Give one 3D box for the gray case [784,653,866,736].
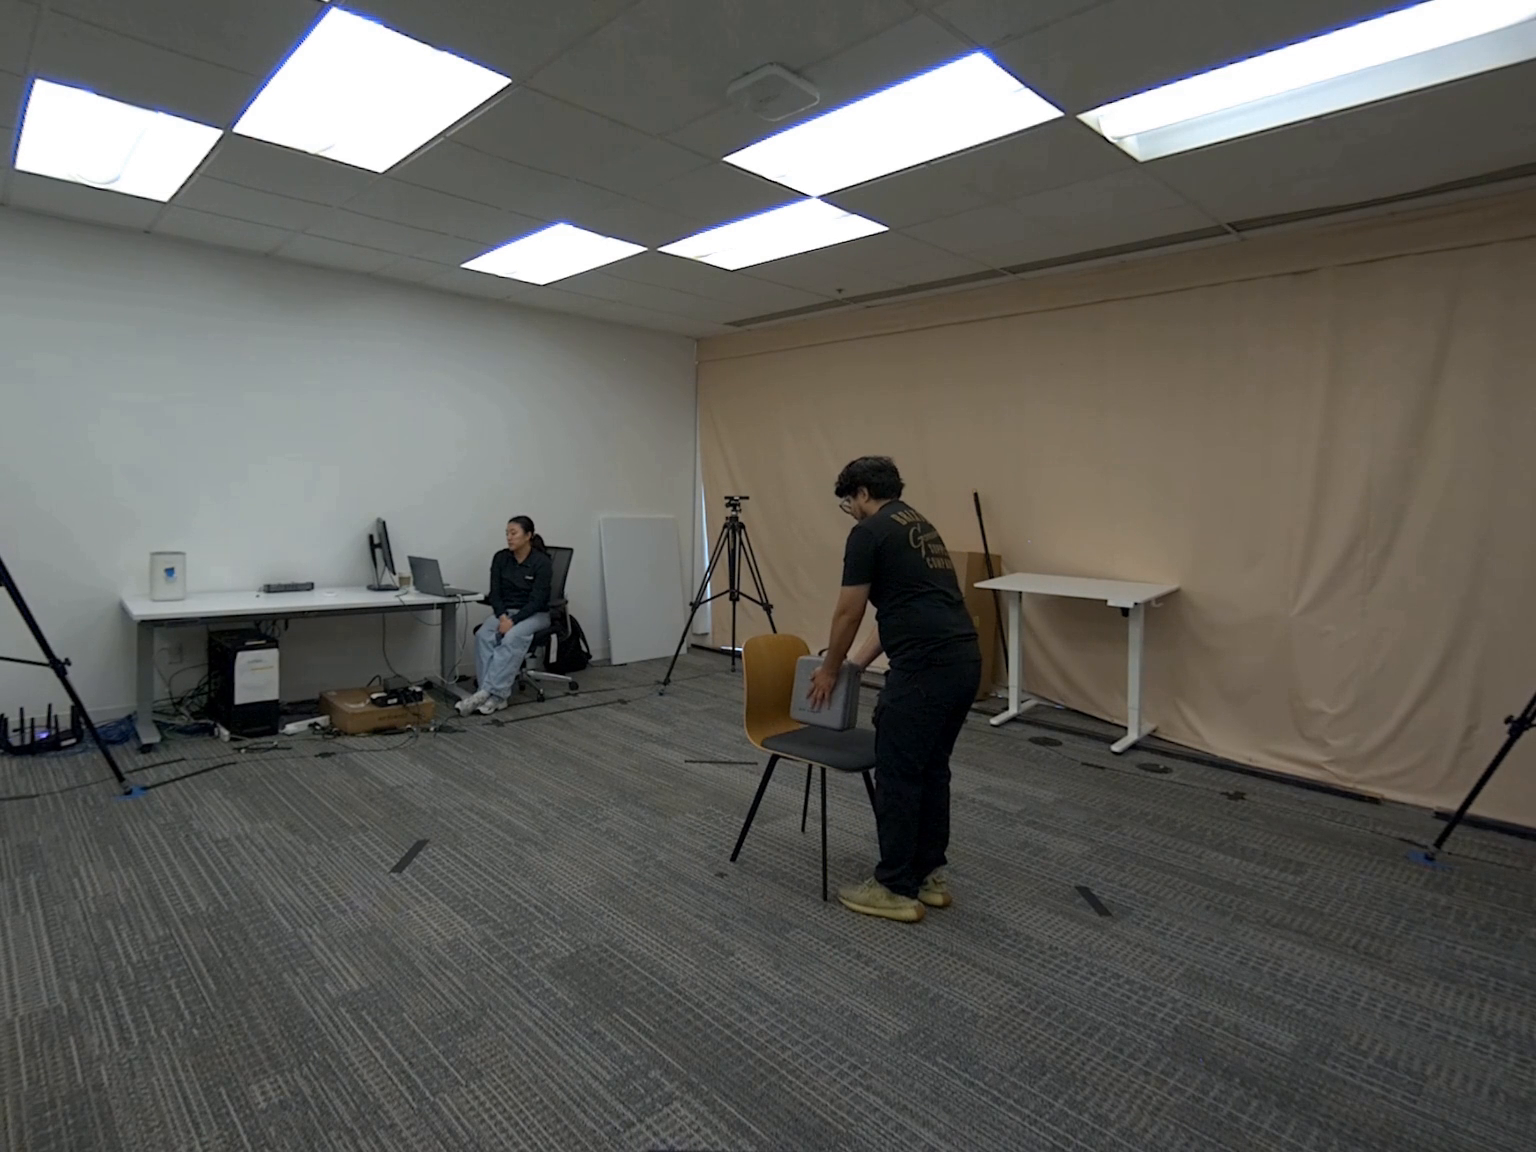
[{"bbox_3d":[0.210,0.434,3.137,0.263,0.262,0.101,1,-11,43],"label":"gray case"}]
